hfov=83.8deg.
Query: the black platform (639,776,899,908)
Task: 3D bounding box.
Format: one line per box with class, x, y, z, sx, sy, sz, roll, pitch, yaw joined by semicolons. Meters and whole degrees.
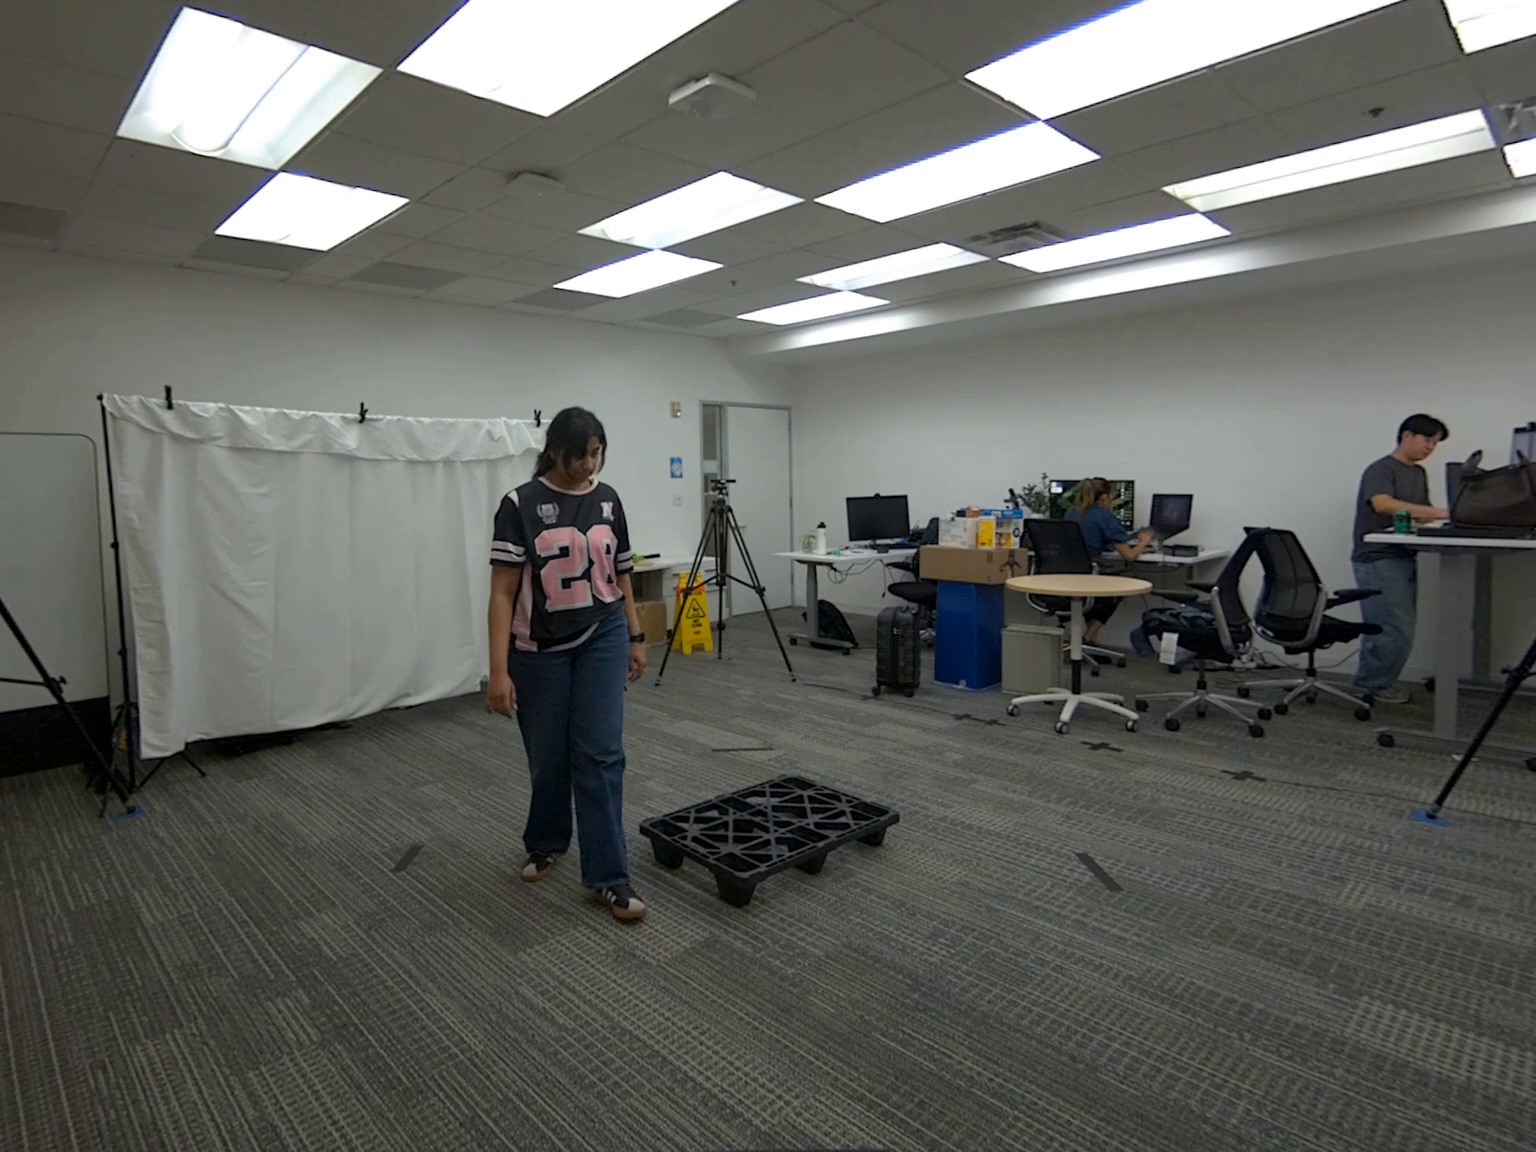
black platform;0.022;0.970;3.199;0.785;0.142;0.624;-7;9;-41
